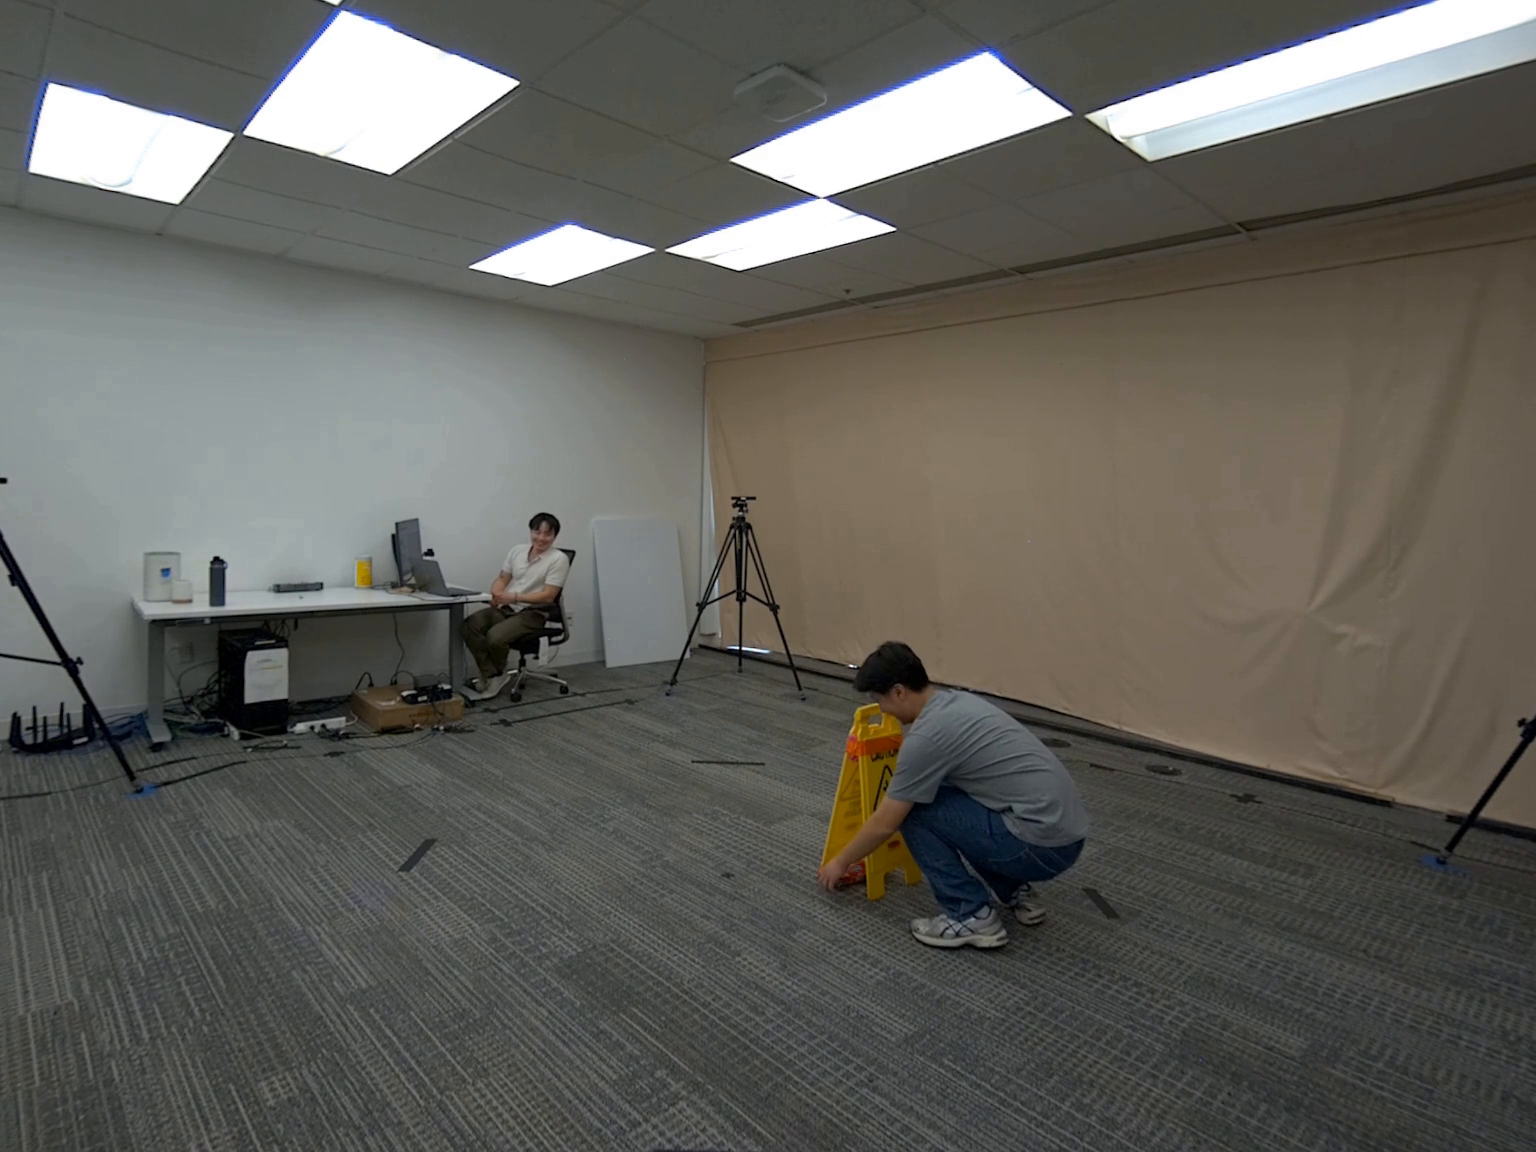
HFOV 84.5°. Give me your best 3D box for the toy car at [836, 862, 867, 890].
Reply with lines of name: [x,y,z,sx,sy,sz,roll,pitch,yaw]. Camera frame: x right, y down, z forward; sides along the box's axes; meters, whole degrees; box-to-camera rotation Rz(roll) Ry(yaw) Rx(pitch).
toy car: [0.335,1.096,3.094,0.251,0.082,0.133,-11,12,-26]
